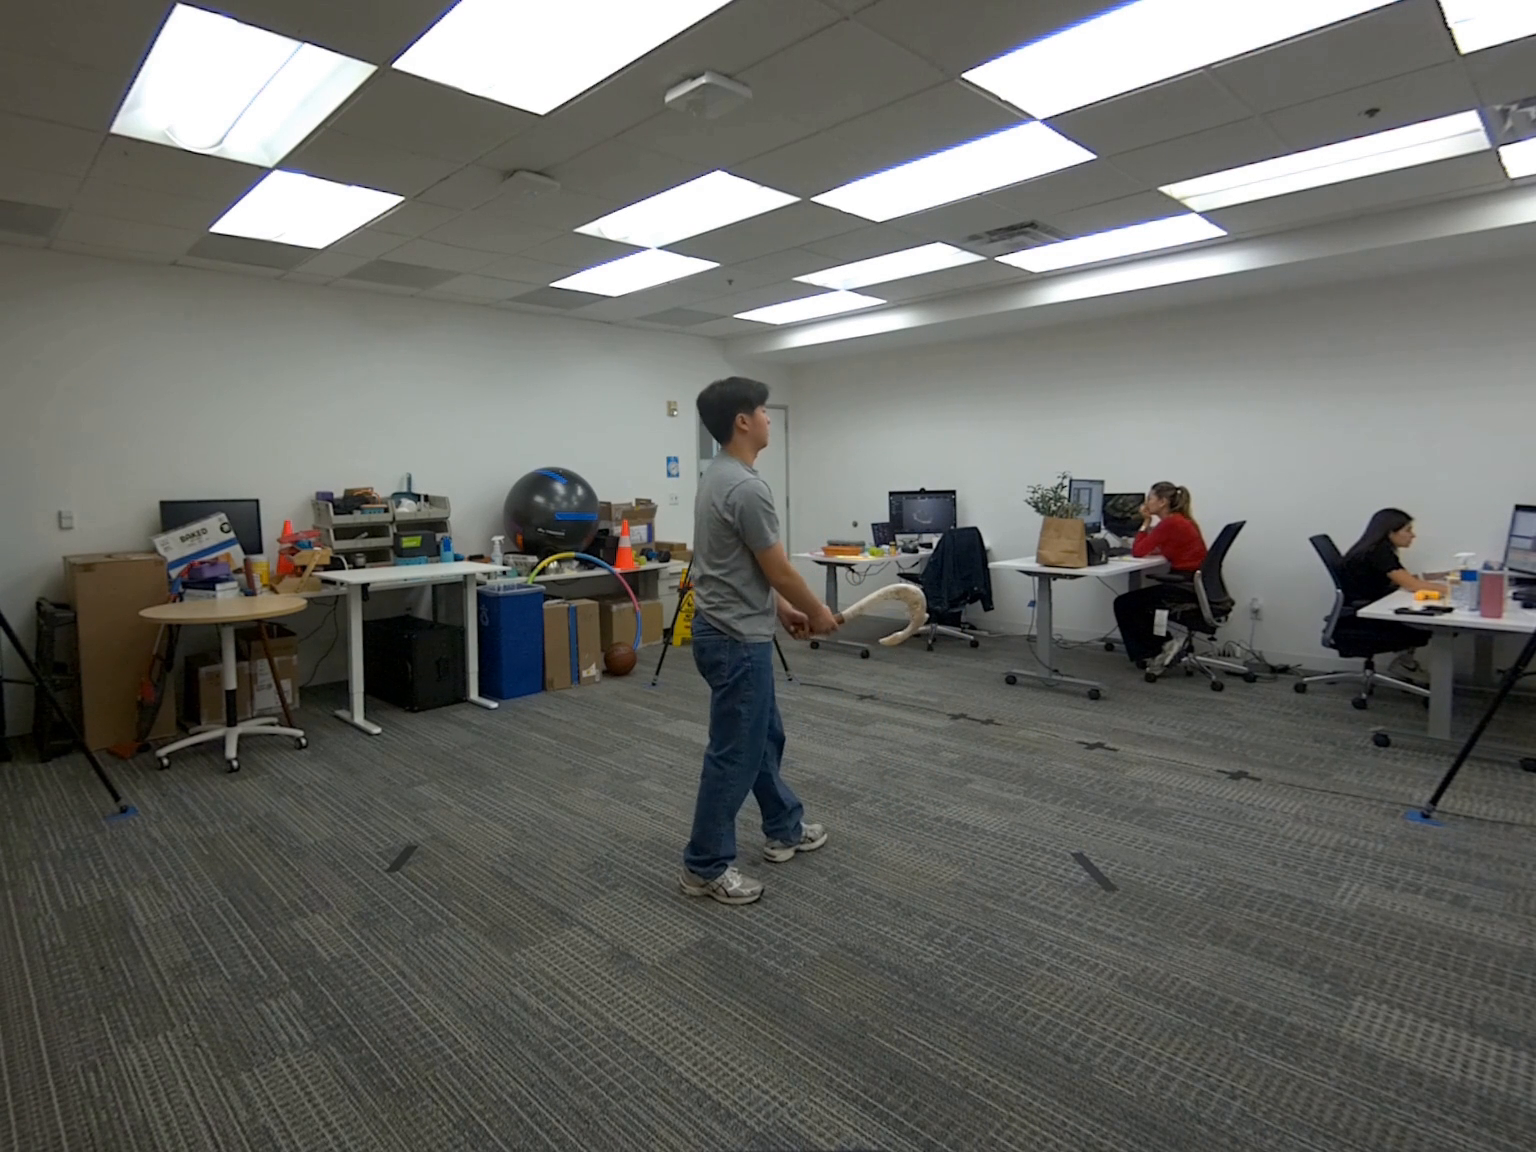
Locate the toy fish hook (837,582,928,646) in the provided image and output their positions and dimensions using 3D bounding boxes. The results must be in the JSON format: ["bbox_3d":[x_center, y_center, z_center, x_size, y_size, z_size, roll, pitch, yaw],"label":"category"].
[{"bbox_3d":[0.324,0.185,3.048,0.505,0.223,0.049,-16,5,-4],"label":"toy fish hook"}]
